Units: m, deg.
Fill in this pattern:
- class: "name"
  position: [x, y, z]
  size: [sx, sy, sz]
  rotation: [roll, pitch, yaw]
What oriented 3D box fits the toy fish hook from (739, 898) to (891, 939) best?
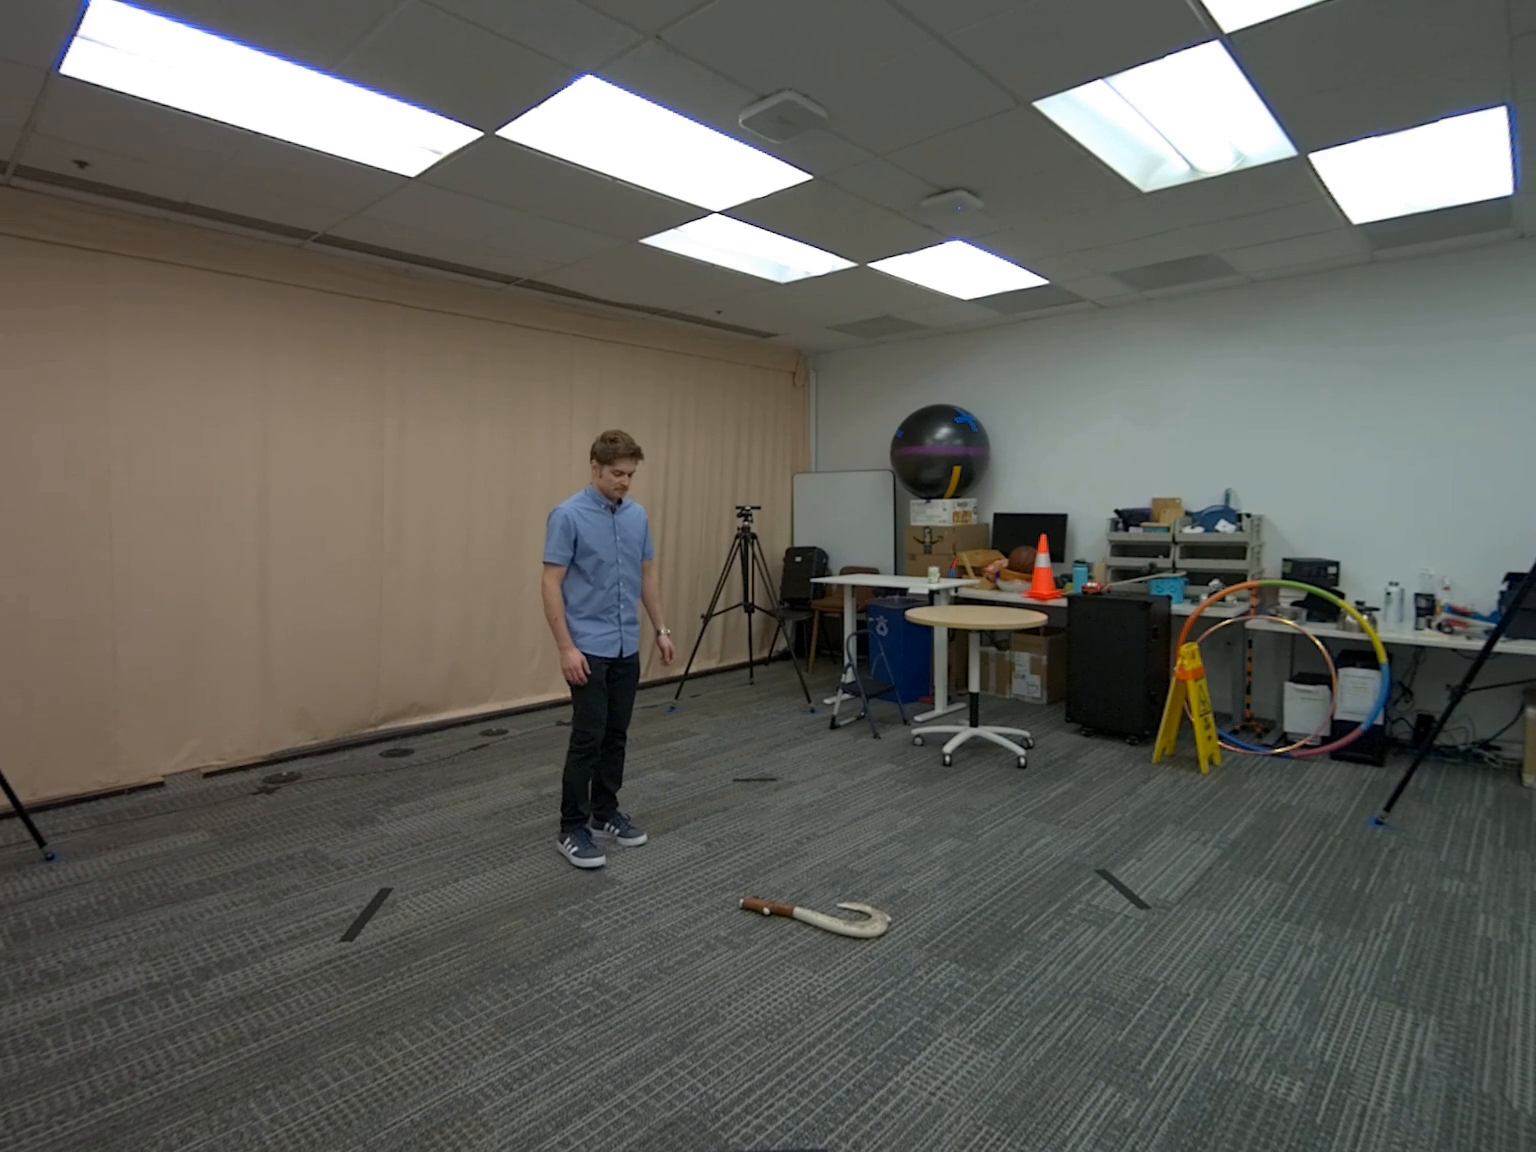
- class: "toy fish hook"
  position: [0.159, 1.140, 2.861]
  size: [0.518, 0.048, 0.219]
  rotation: [3, -3, 22]
